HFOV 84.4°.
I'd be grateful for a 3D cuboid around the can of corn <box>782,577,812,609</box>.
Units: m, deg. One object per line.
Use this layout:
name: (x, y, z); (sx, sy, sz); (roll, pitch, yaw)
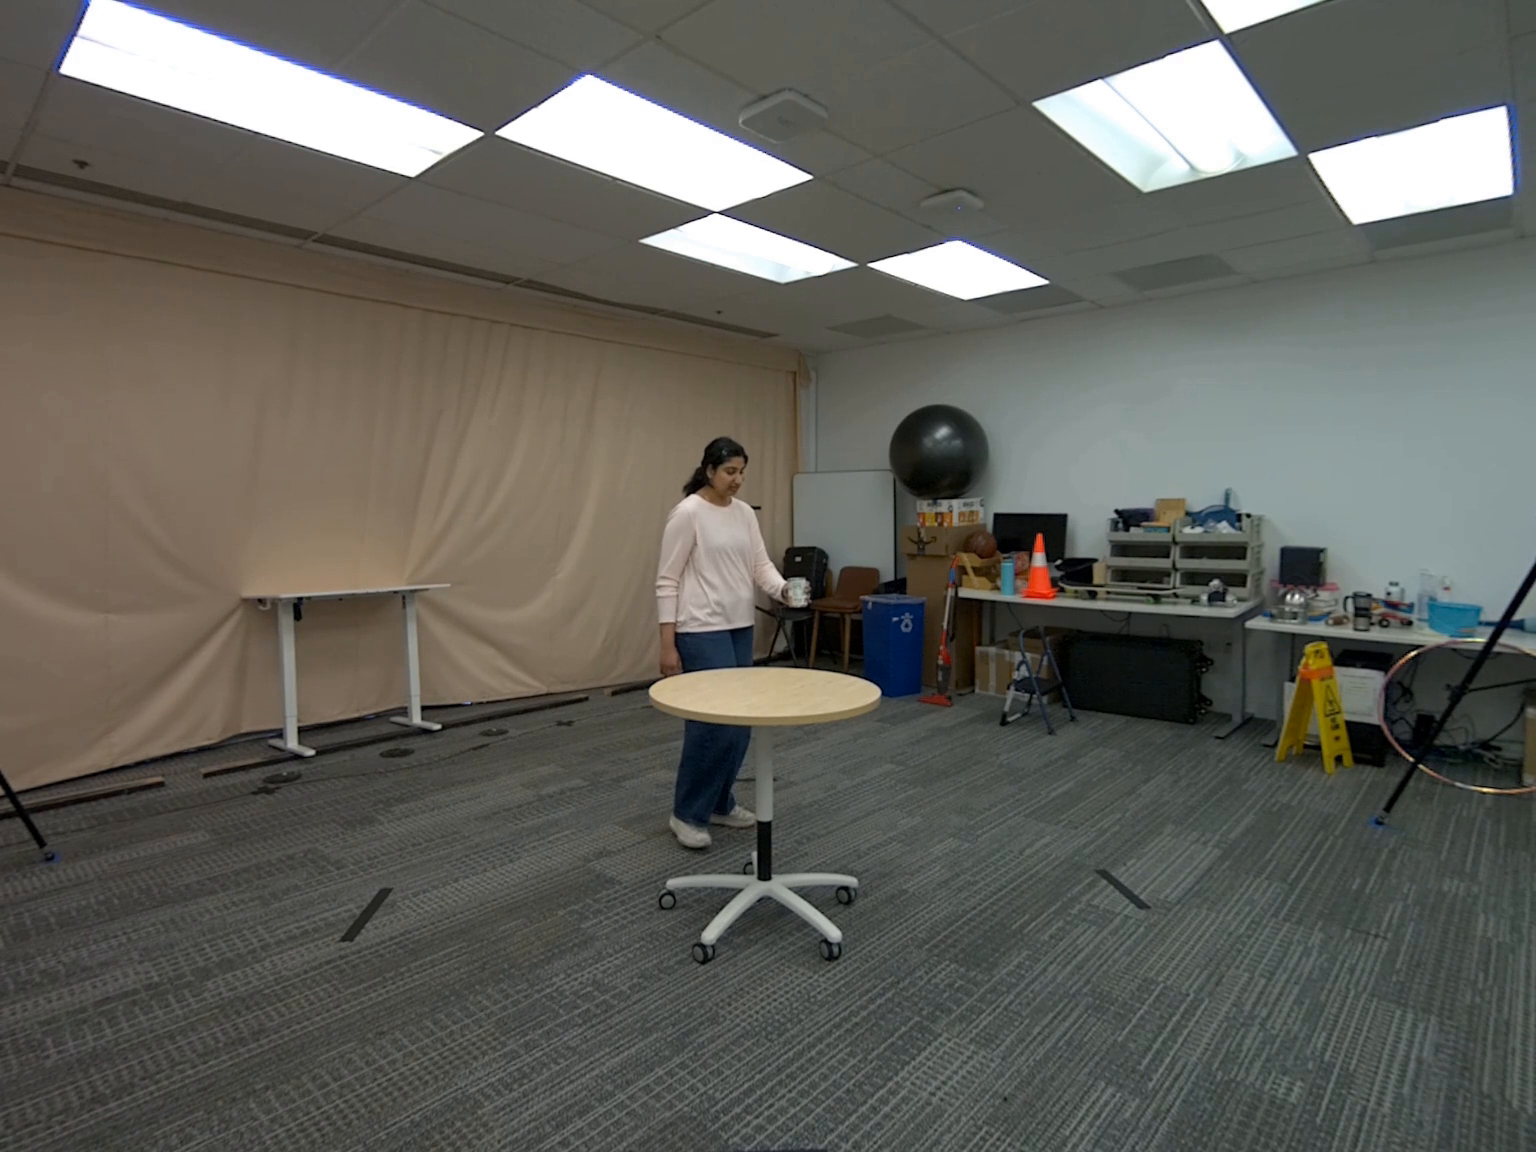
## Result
can of corn: (0.121, 0.067, 3.379); (0.074, 0.111, 0.074); (-3, 2, -2)
